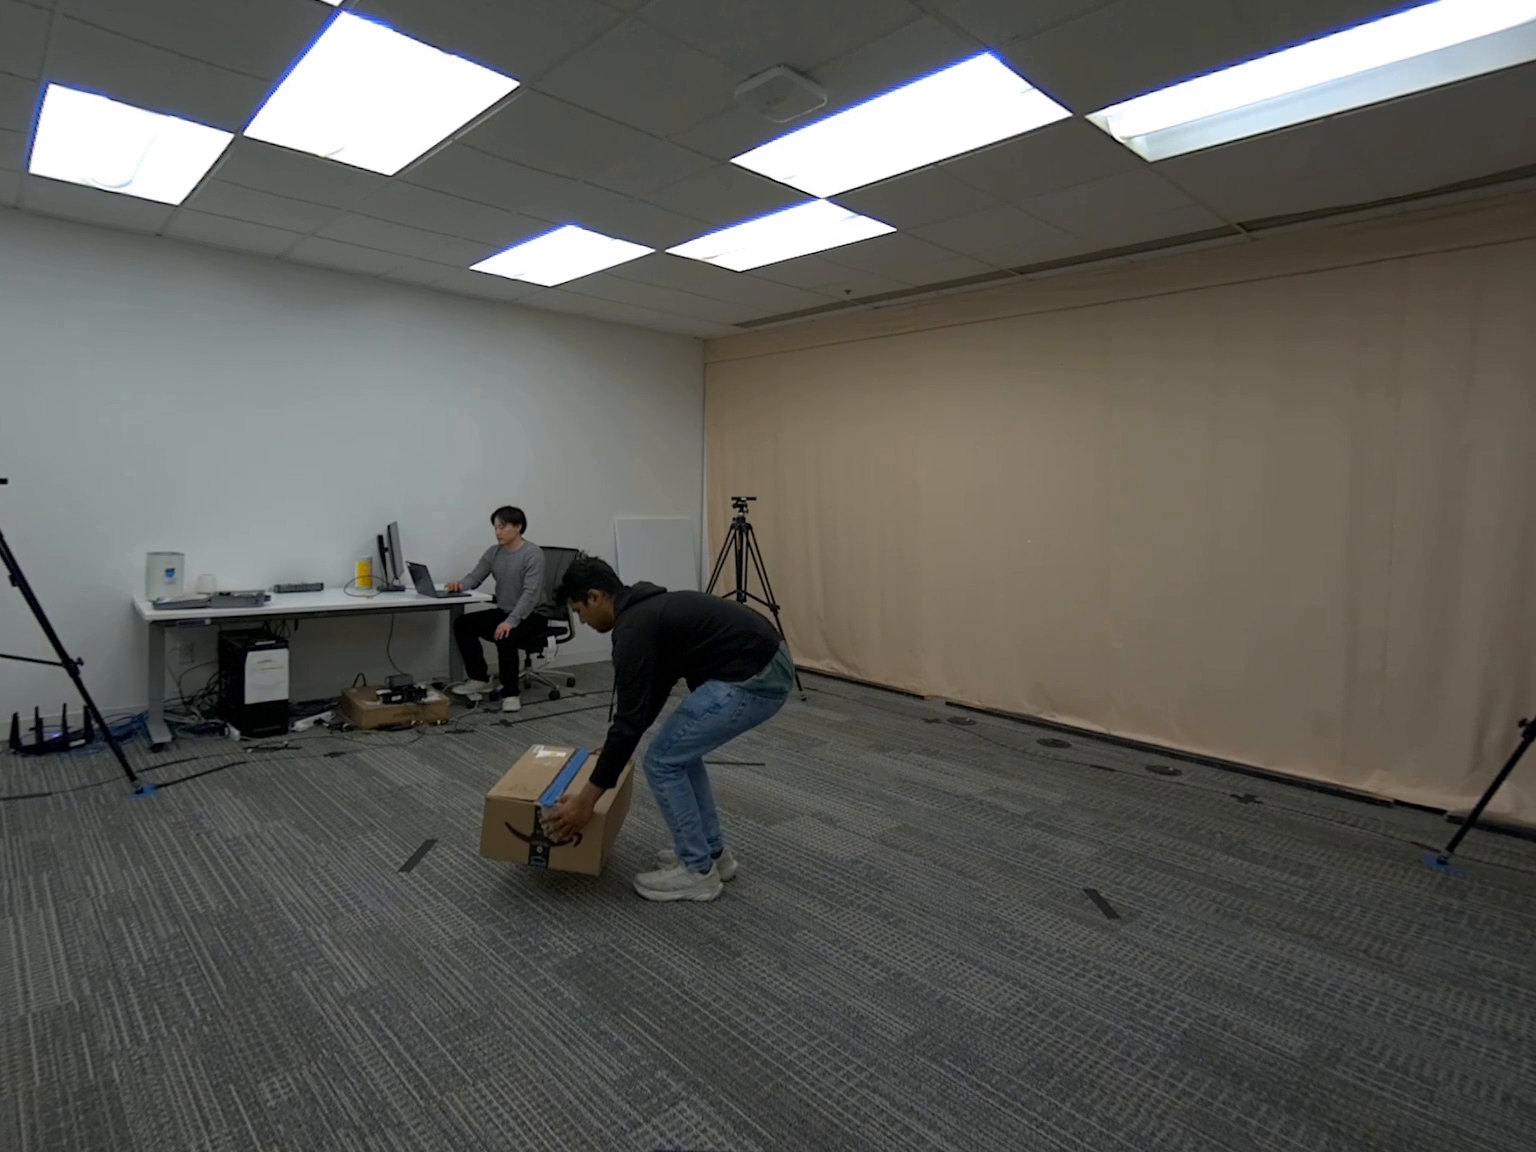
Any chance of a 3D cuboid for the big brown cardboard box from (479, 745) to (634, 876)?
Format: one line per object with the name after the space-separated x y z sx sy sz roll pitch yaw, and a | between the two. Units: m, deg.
-0.753 0.824 3.091 0.418 0.232 0.590 7 7 1 | big brown cardboard box
